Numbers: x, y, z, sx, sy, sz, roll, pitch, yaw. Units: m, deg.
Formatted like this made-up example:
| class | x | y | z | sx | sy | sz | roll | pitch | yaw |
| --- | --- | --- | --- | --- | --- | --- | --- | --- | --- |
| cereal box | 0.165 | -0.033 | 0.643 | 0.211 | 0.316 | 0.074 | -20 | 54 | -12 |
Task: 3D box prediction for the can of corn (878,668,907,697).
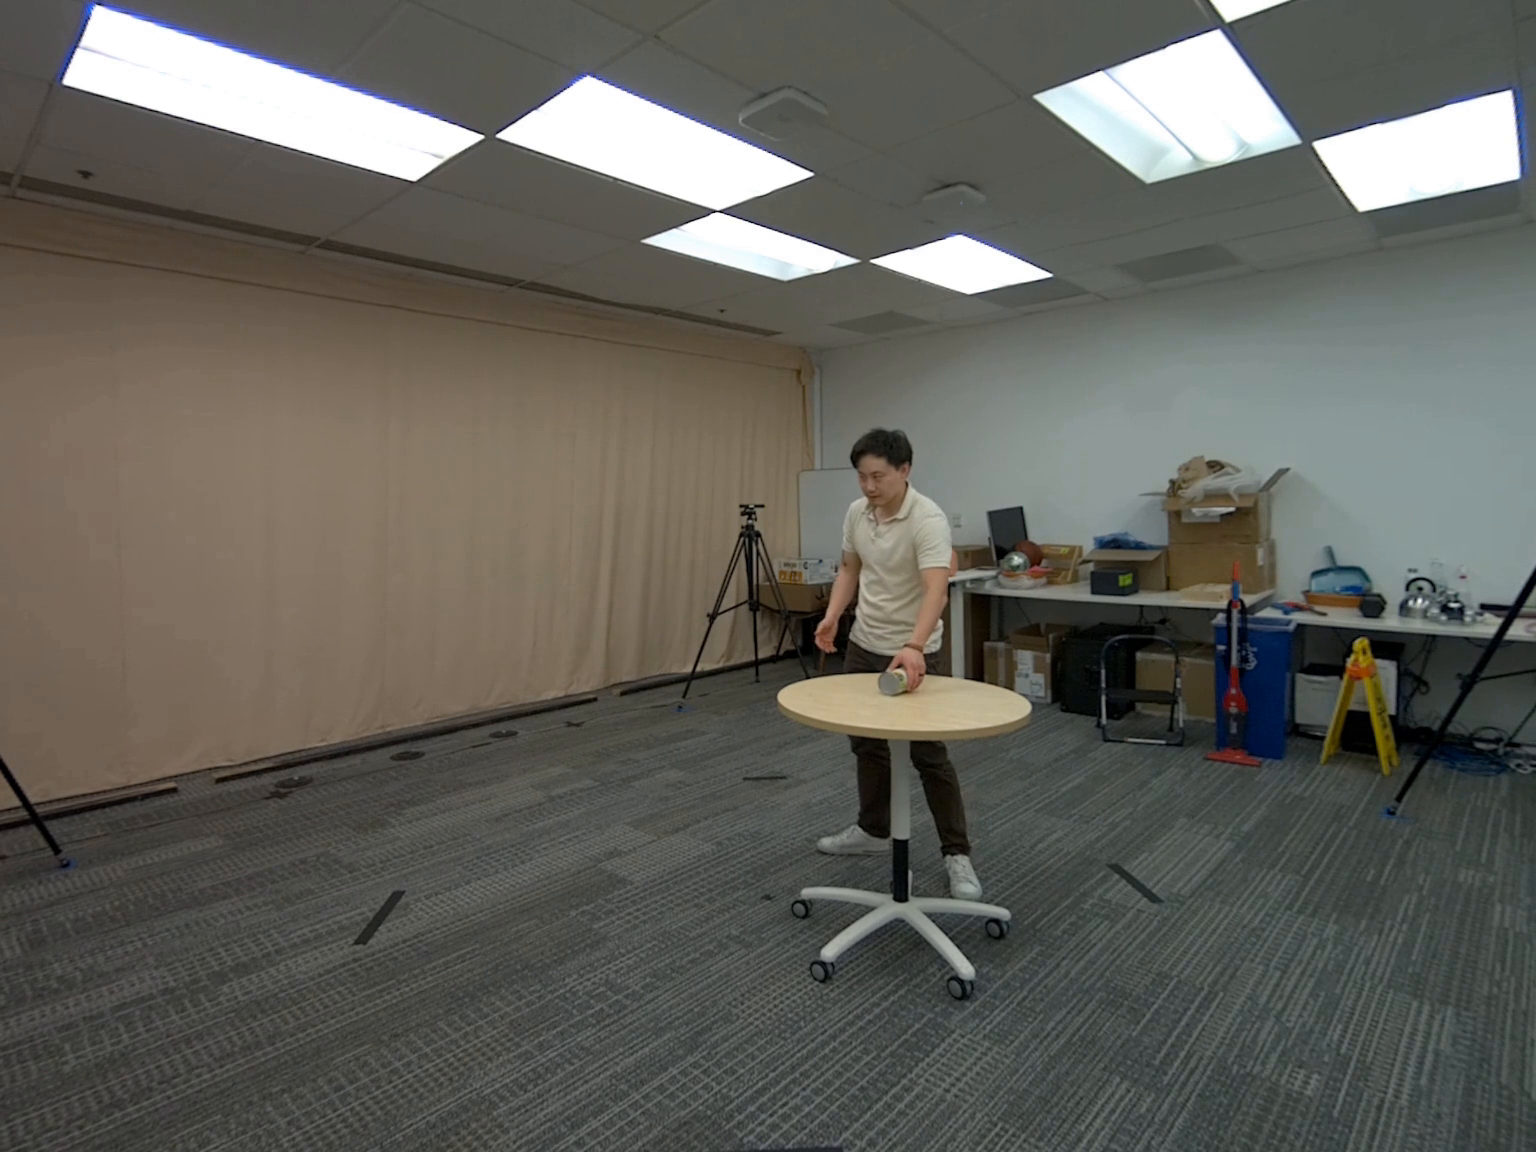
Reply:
| class | x | y | z | sx | sy | sz | roll | pitch | yaw |
| --- | --- | --- | --- | --- | --- | --- | --- | --- | --- |
| can of corn | 0.429 | 0.338 | 2.681 | 0.108 | 0.074 | 0.076 | -3 | 5 | -29 |
